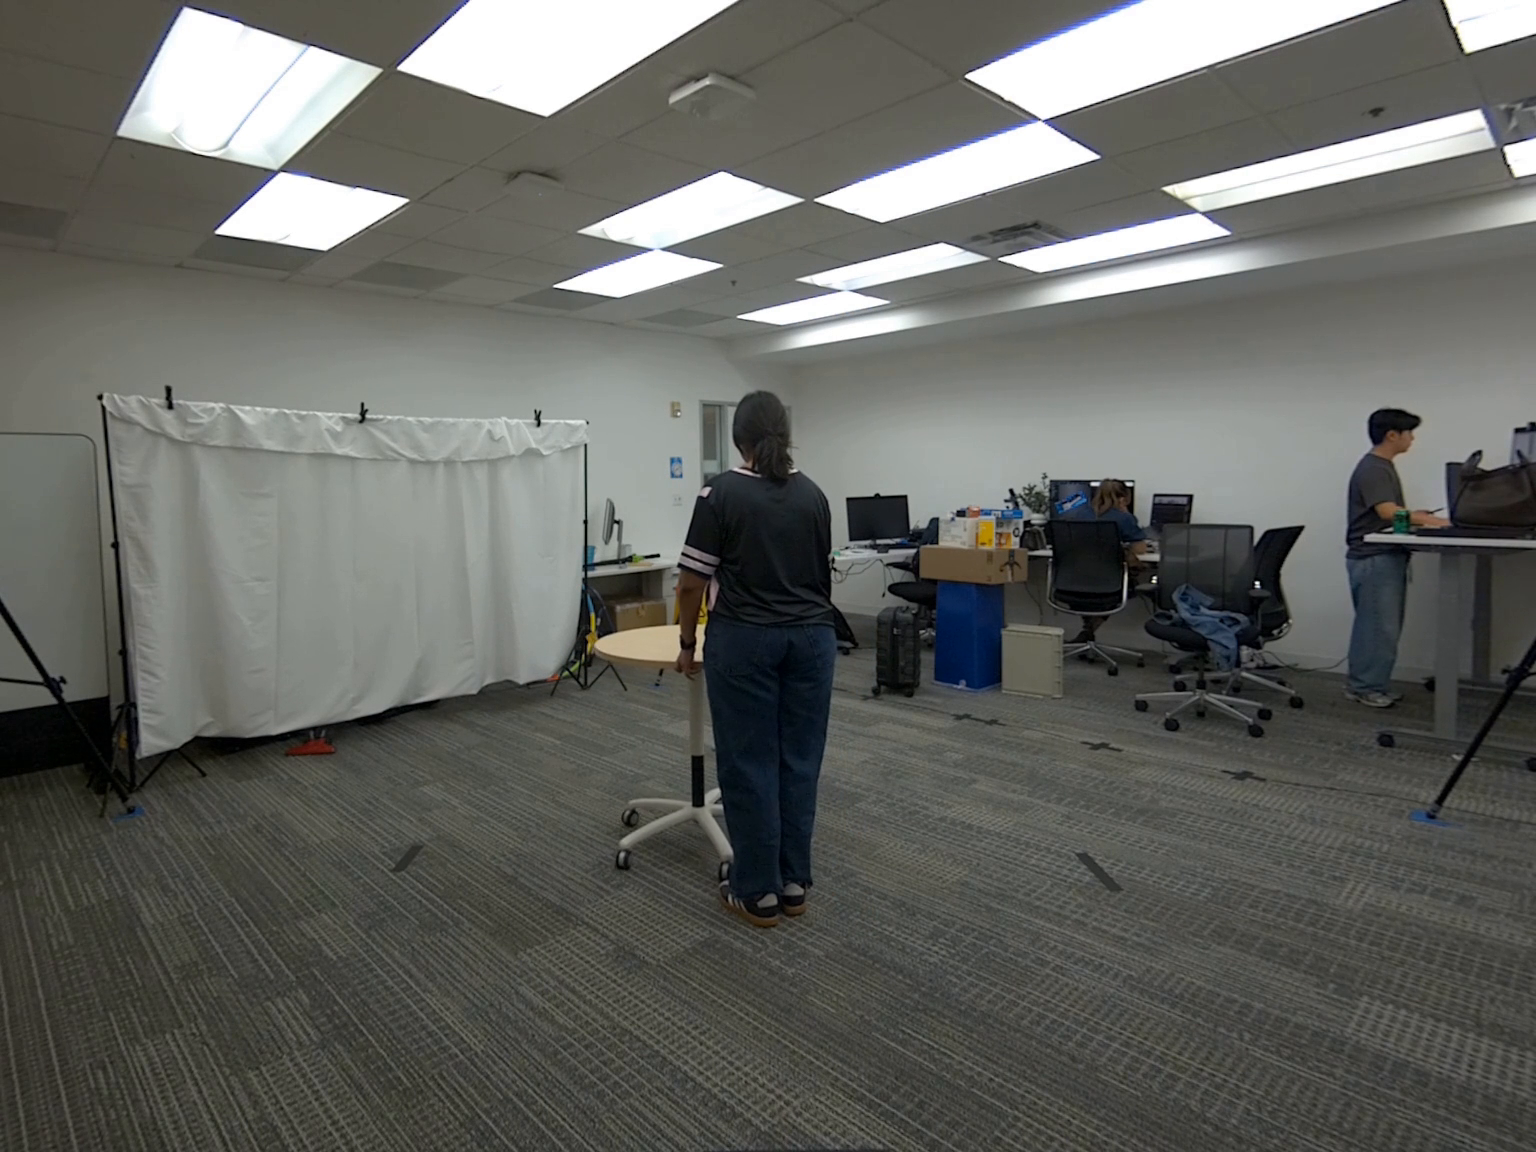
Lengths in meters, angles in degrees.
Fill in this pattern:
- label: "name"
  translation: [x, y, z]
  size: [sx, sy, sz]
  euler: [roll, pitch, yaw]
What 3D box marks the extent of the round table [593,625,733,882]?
- label: "round table"
  translation: [-0.268, 0.637, 3.281]
  size: [0.784, 0.784, 0.789]
  euler: [-1, 4, -2]
